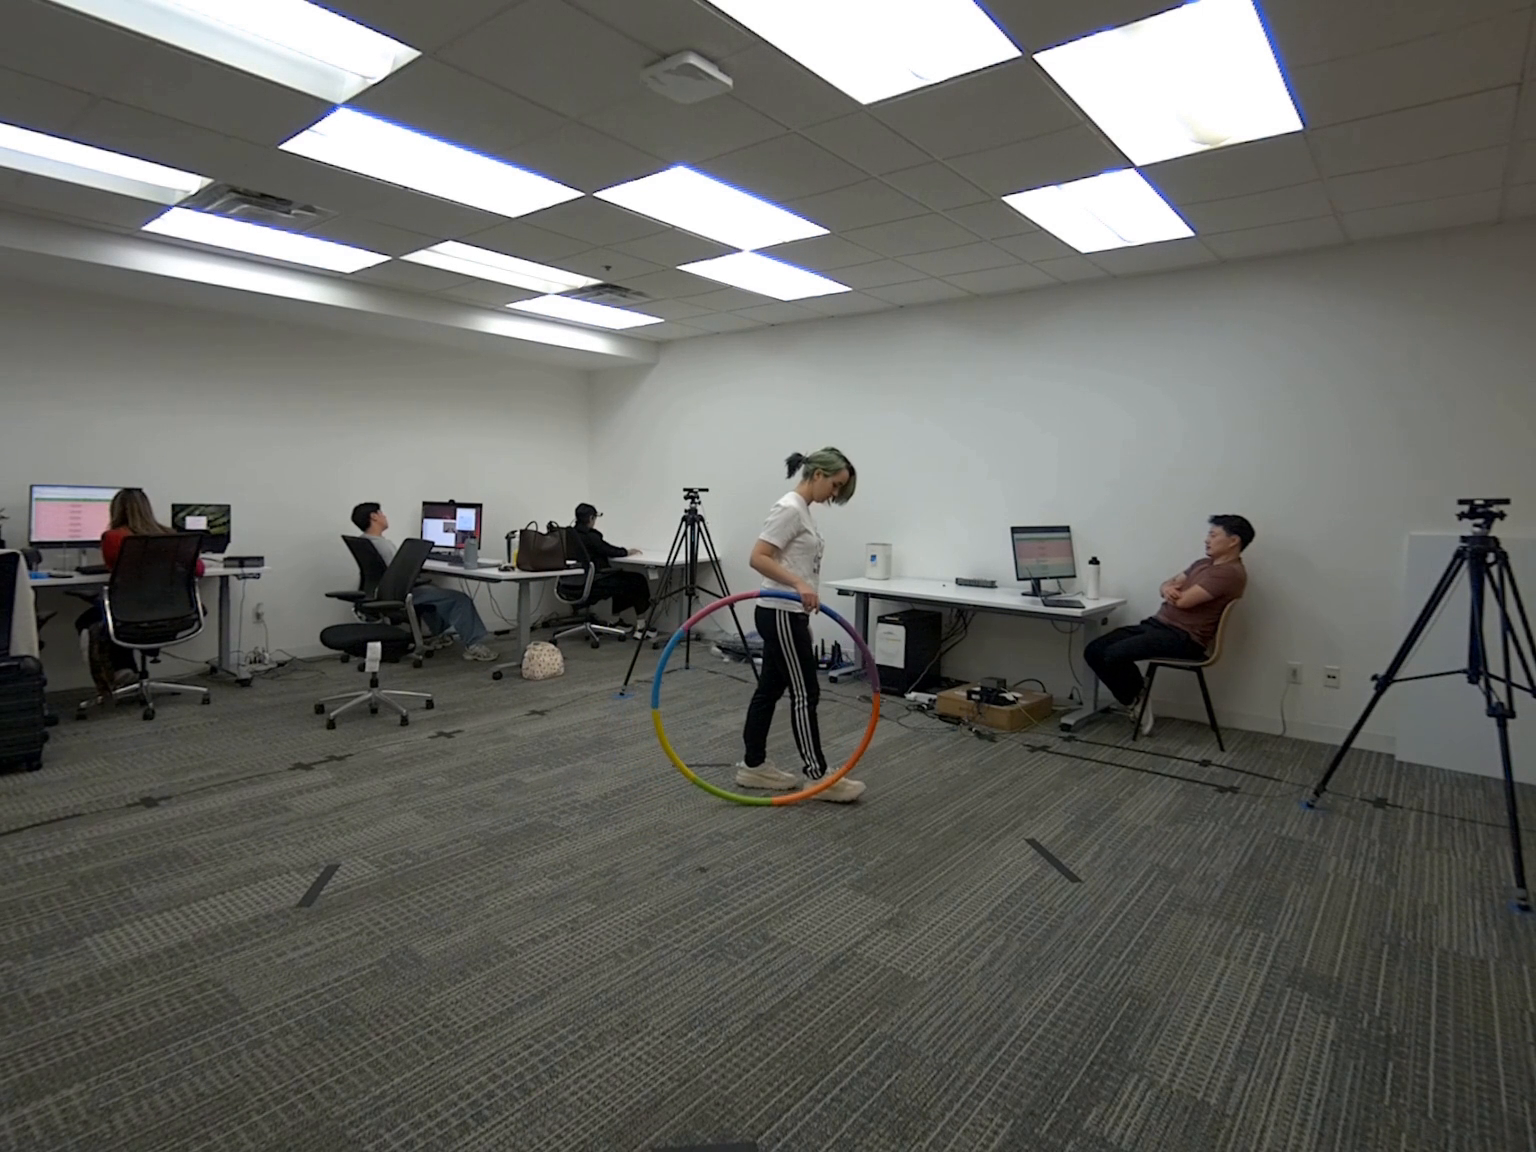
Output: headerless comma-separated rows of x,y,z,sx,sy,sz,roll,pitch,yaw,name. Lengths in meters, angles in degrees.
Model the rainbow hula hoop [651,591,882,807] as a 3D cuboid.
-0.013,0.533,3.681,0.975,0.969,0.036,1,11,-3,rainbow hula hoop
